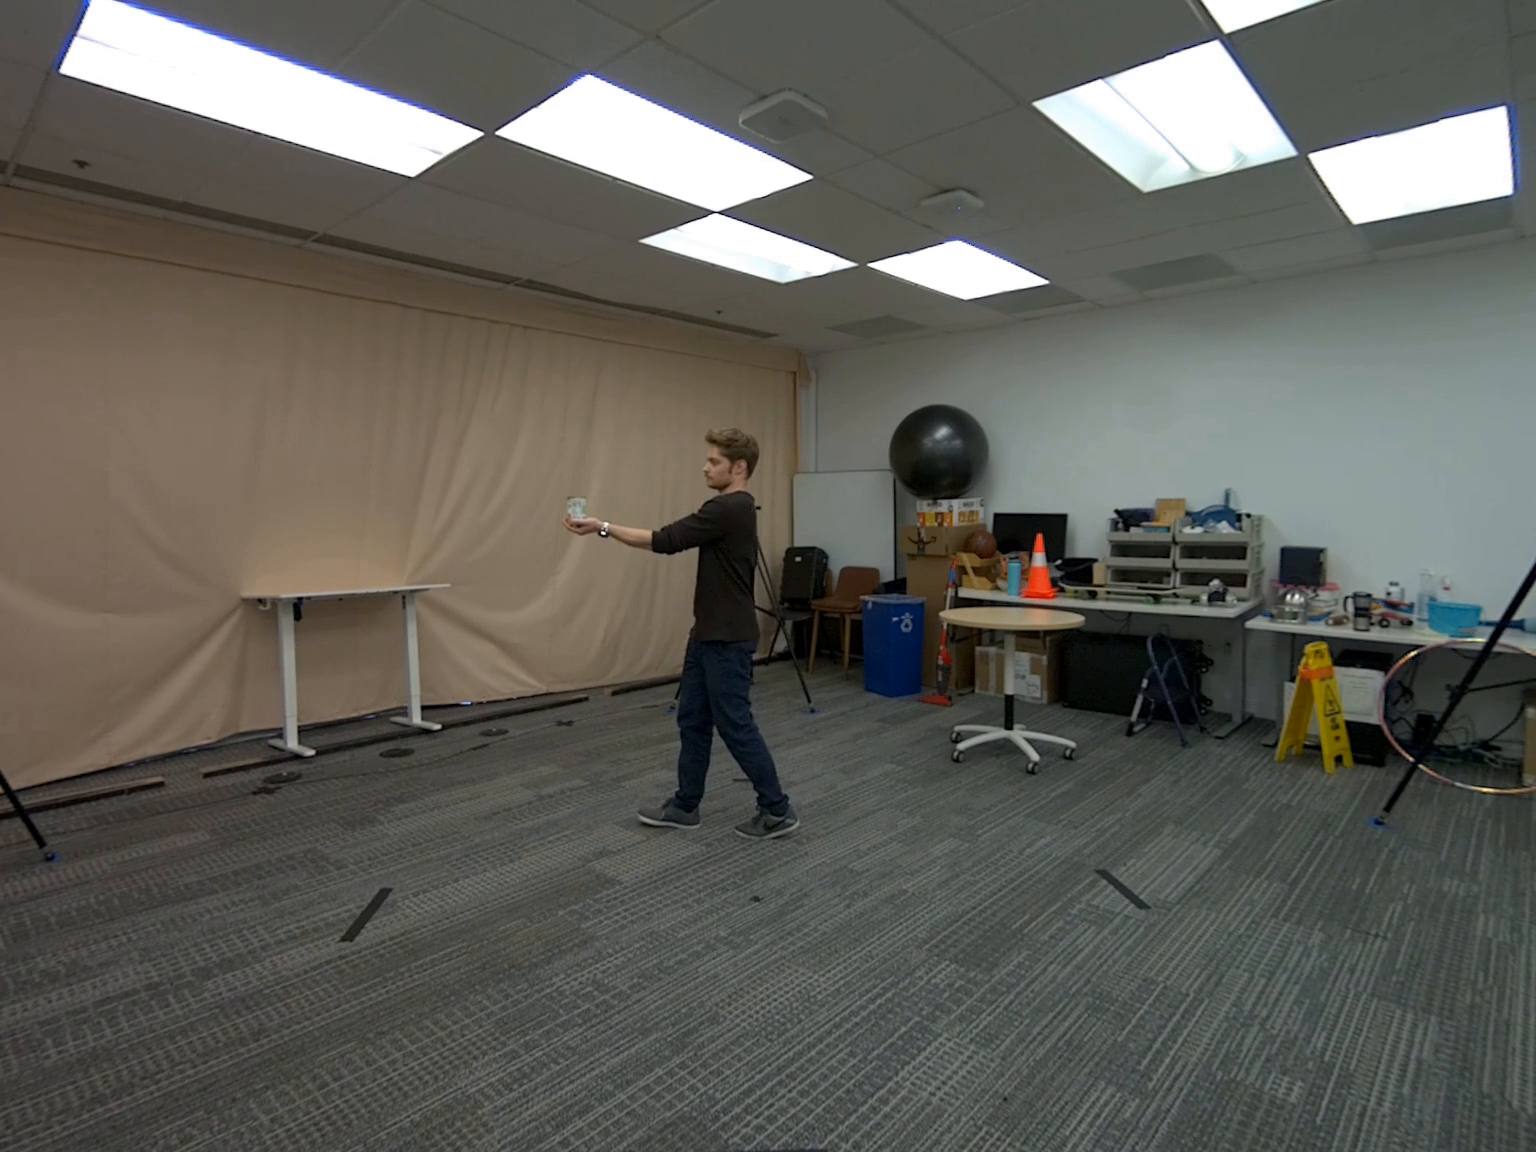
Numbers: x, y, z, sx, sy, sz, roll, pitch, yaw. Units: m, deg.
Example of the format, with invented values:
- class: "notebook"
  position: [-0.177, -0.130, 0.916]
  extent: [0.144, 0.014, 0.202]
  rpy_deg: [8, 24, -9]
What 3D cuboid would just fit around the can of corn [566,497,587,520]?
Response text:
- class: "can of corn"
  position: [-0.770, -0.261, 3.382]
  extent: [0.074, 0.111, 0.074]
  rpy_deg: [0, 1, -2]
